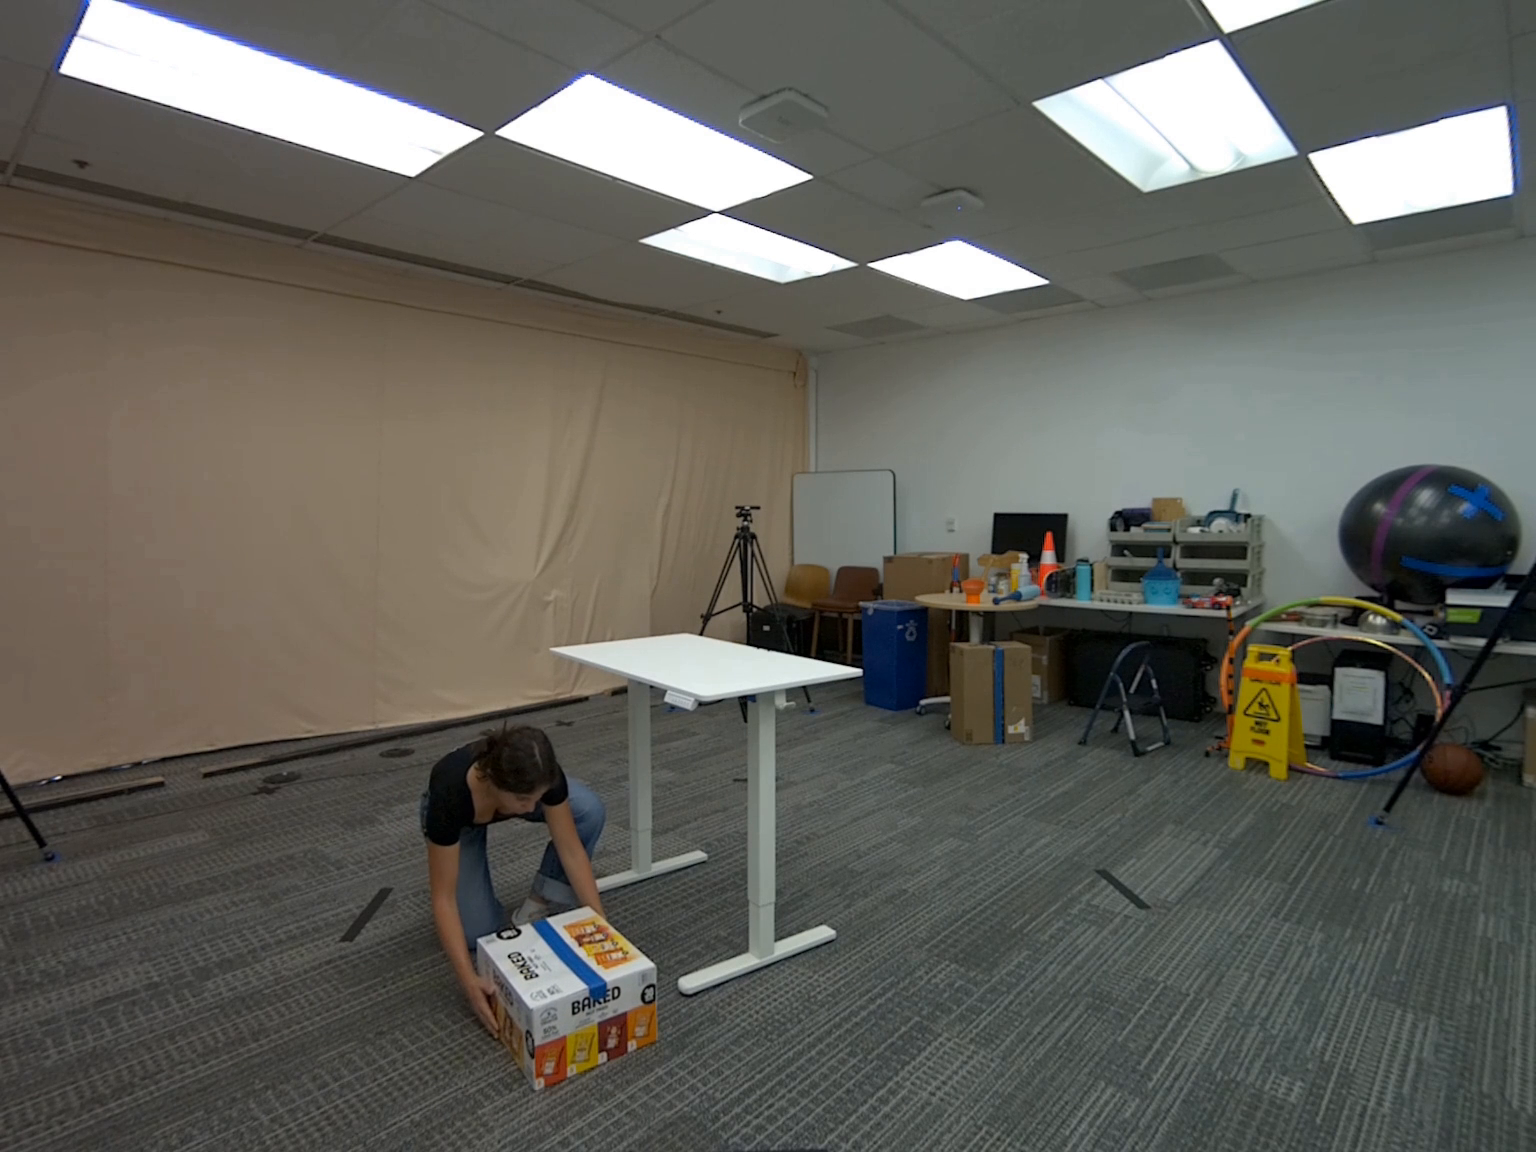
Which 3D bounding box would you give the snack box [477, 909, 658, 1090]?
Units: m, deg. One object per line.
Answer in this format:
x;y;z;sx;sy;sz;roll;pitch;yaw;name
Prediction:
-0.546;1.108;2.250;0.330;0.205;0.418;-3;5;-36;snack box
